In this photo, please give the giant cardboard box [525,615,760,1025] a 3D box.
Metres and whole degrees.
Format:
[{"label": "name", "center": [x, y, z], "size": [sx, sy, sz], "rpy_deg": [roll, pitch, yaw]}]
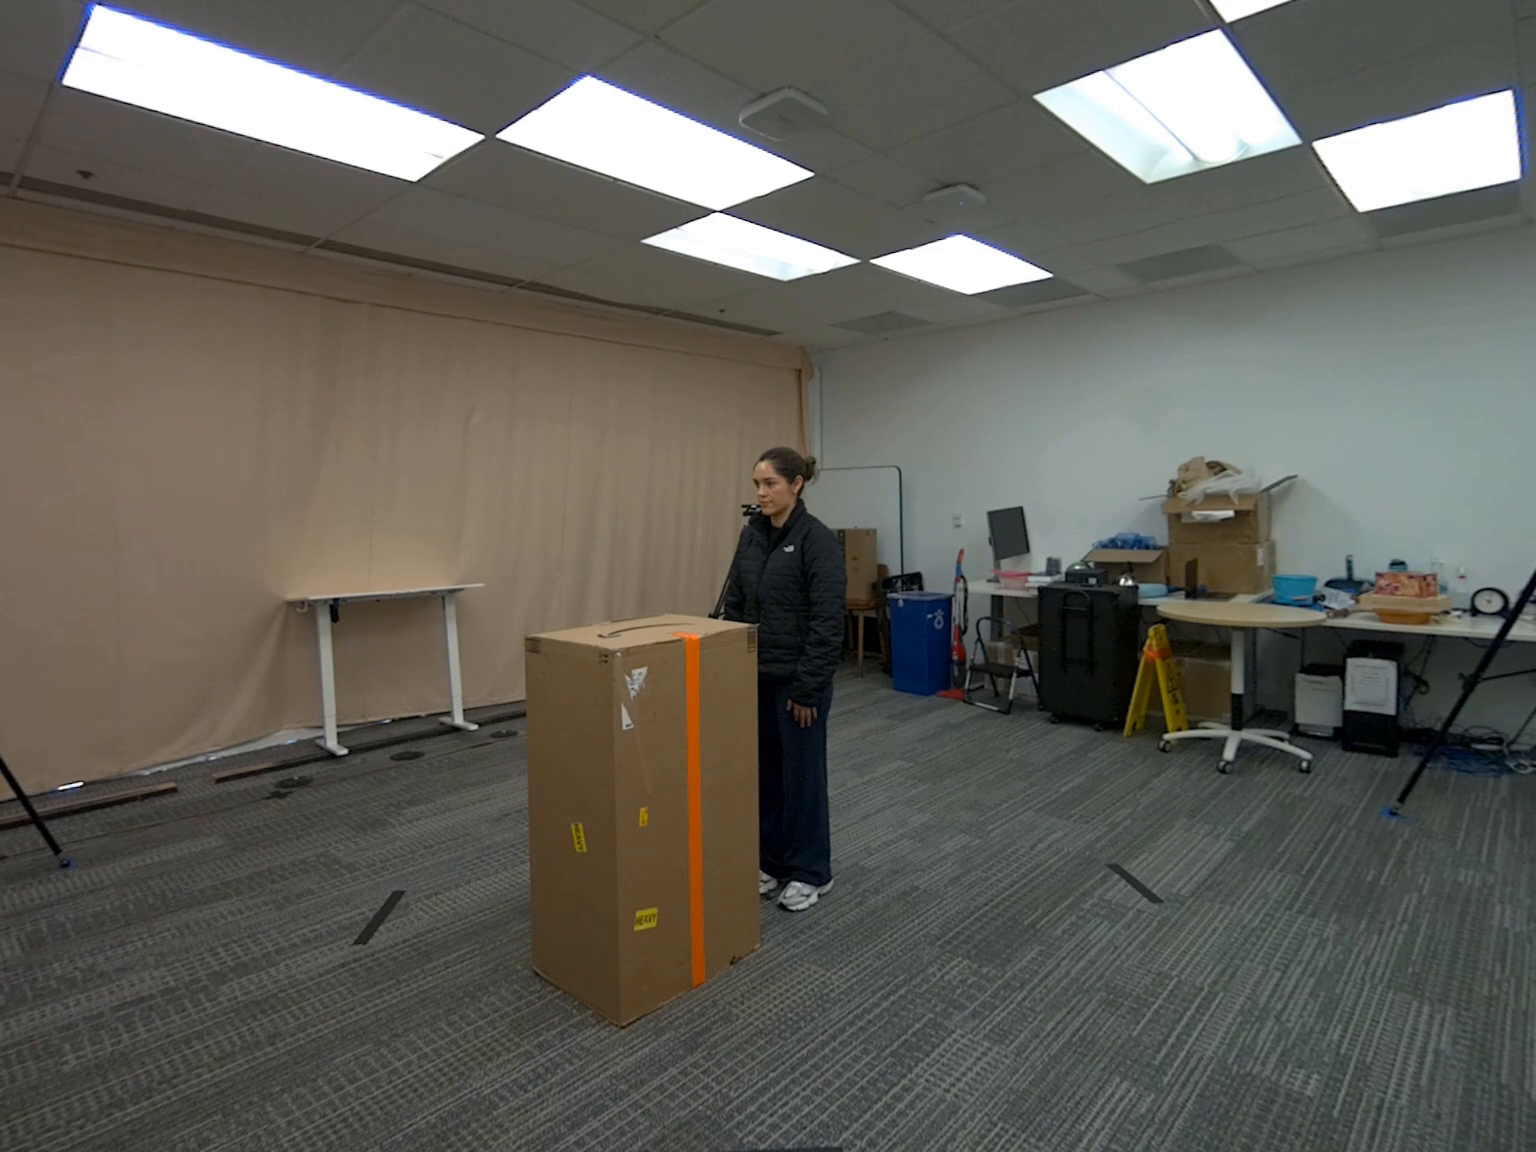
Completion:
[{"label": "giant cardboard box", "center": [-0.361, 0.676, 2.566], "size": [0.440, 1.024, 0.560], "rpy_deg": [2, 4, 43]}]
